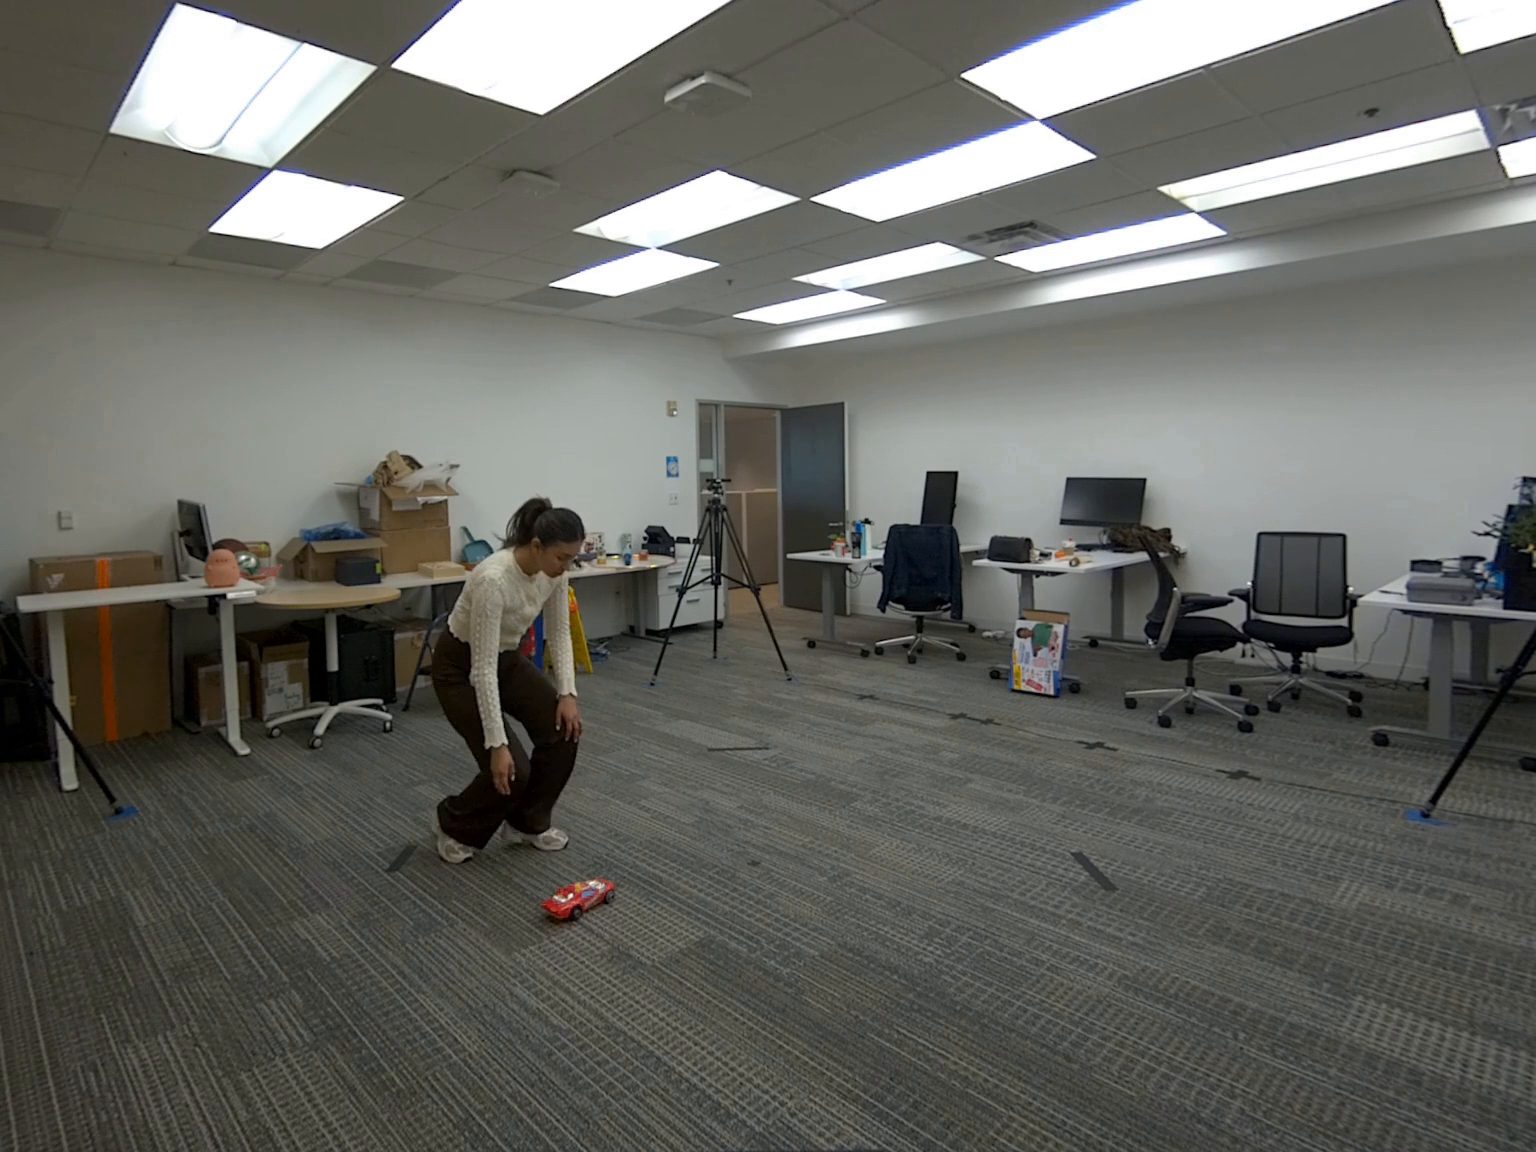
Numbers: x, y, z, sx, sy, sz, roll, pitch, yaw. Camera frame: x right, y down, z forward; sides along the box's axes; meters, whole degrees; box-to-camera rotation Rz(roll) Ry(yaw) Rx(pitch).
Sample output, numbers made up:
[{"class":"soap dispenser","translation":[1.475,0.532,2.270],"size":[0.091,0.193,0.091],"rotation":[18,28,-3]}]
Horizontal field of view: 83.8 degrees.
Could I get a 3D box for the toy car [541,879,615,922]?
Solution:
[{"class":"toy car","translation":[-0.624,1.060,2.795],"size":[0.134,0.083,0.246],"rotation":[4,-3,40]}]
